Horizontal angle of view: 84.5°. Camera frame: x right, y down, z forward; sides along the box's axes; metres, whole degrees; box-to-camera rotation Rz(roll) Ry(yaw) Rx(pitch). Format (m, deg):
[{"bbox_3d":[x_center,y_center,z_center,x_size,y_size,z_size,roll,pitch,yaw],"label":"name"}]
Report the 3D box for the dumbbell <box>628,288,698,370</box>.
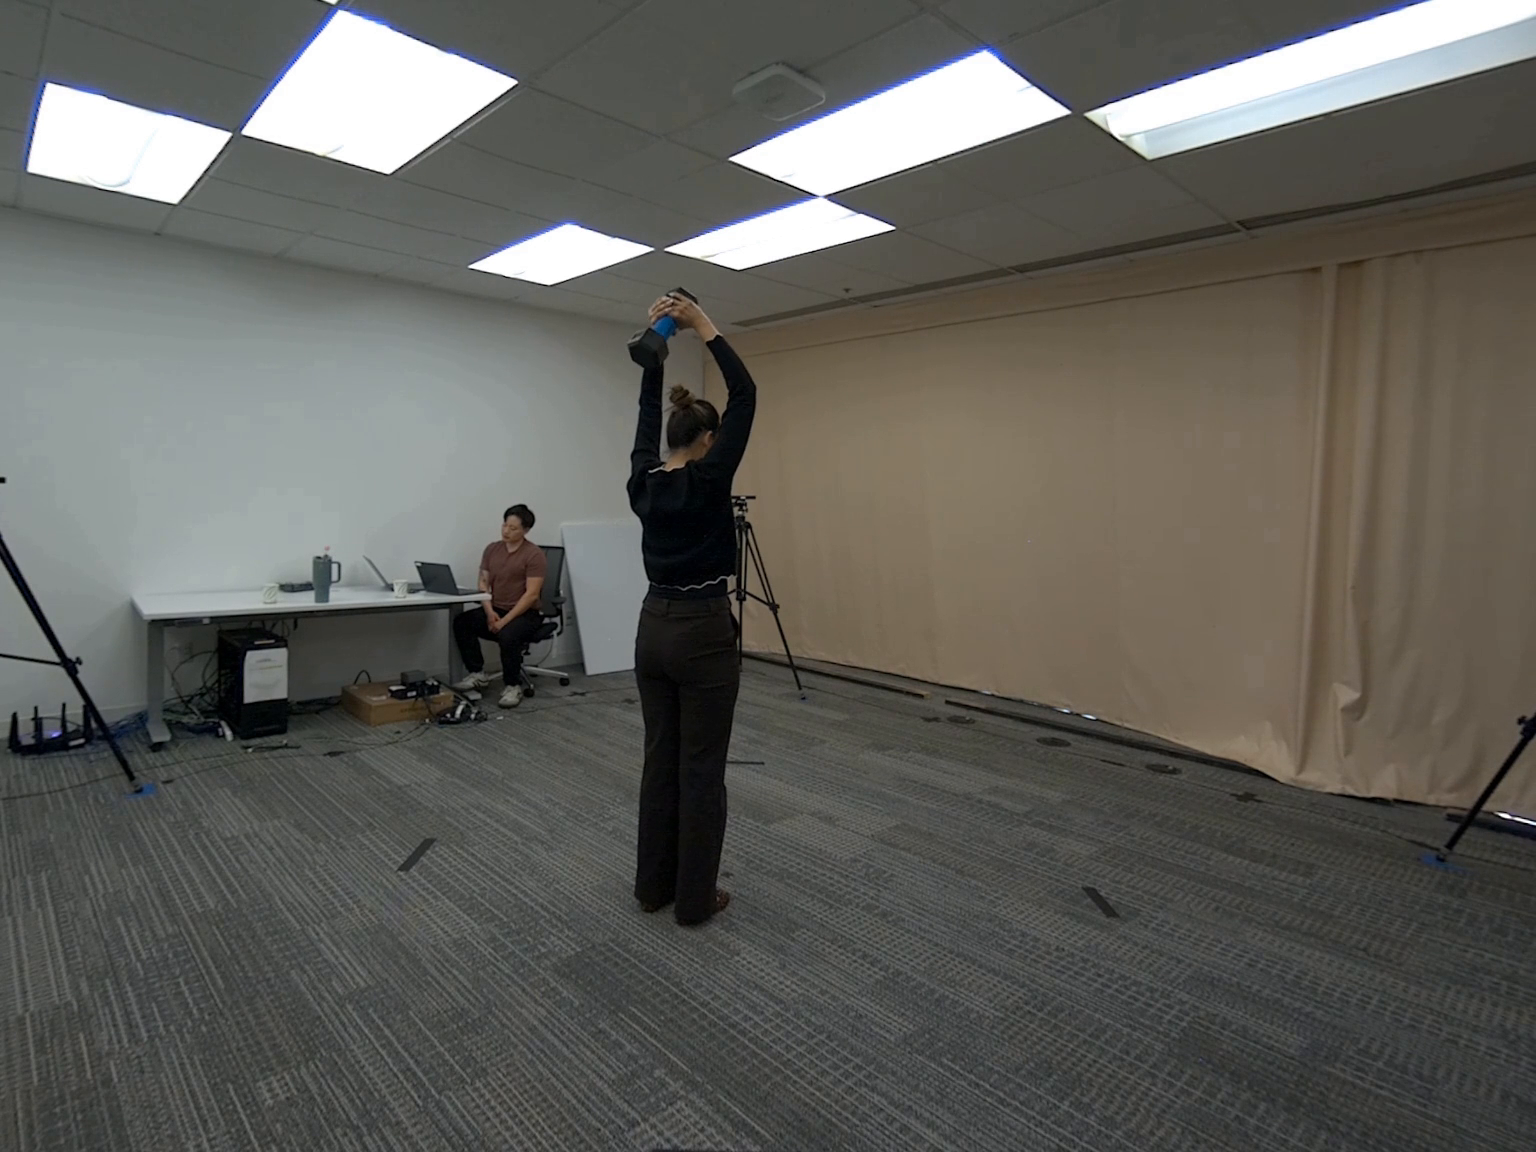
[{"bbox_3d":[-0.333,-0.782,2.660,0.111,0.295,0.120,16,-33,19],"label":"dumbbell"}]
